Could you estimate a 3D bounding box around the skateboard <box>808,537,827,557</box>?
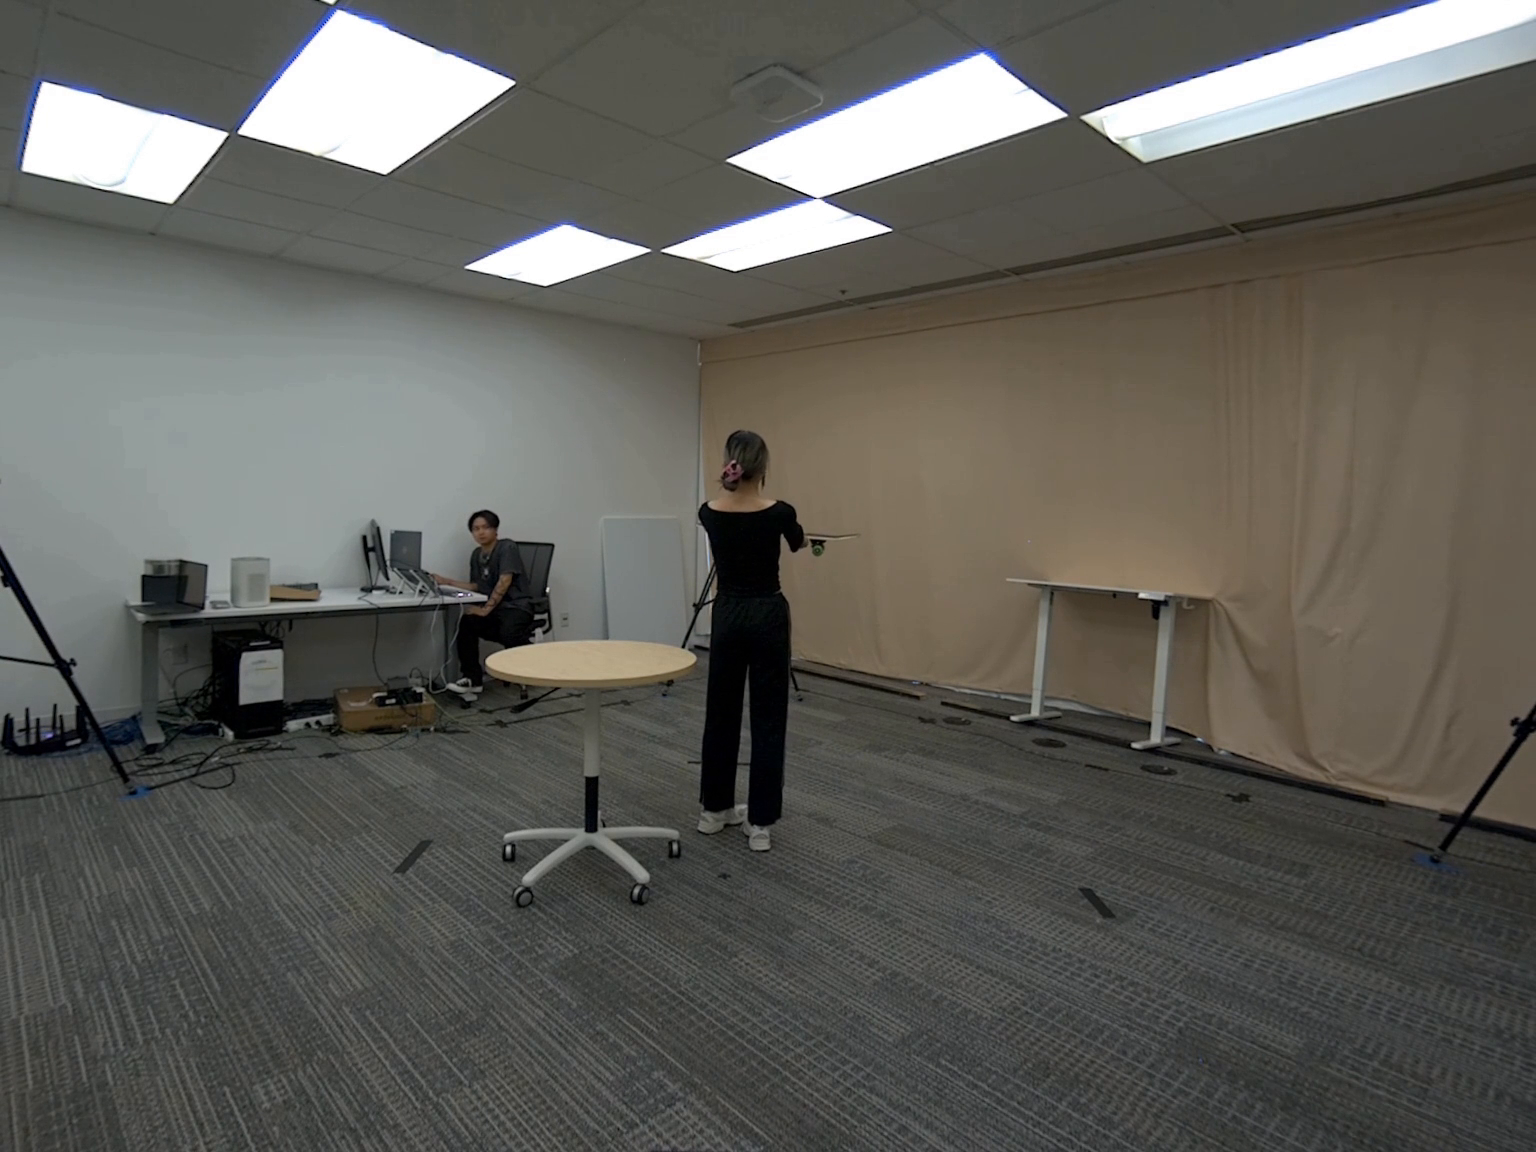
[{"bbox_3d":[0.051,-0.166,4.039,0.791,0.110,0.193,5,8,9],"label":"skateboard"}]
